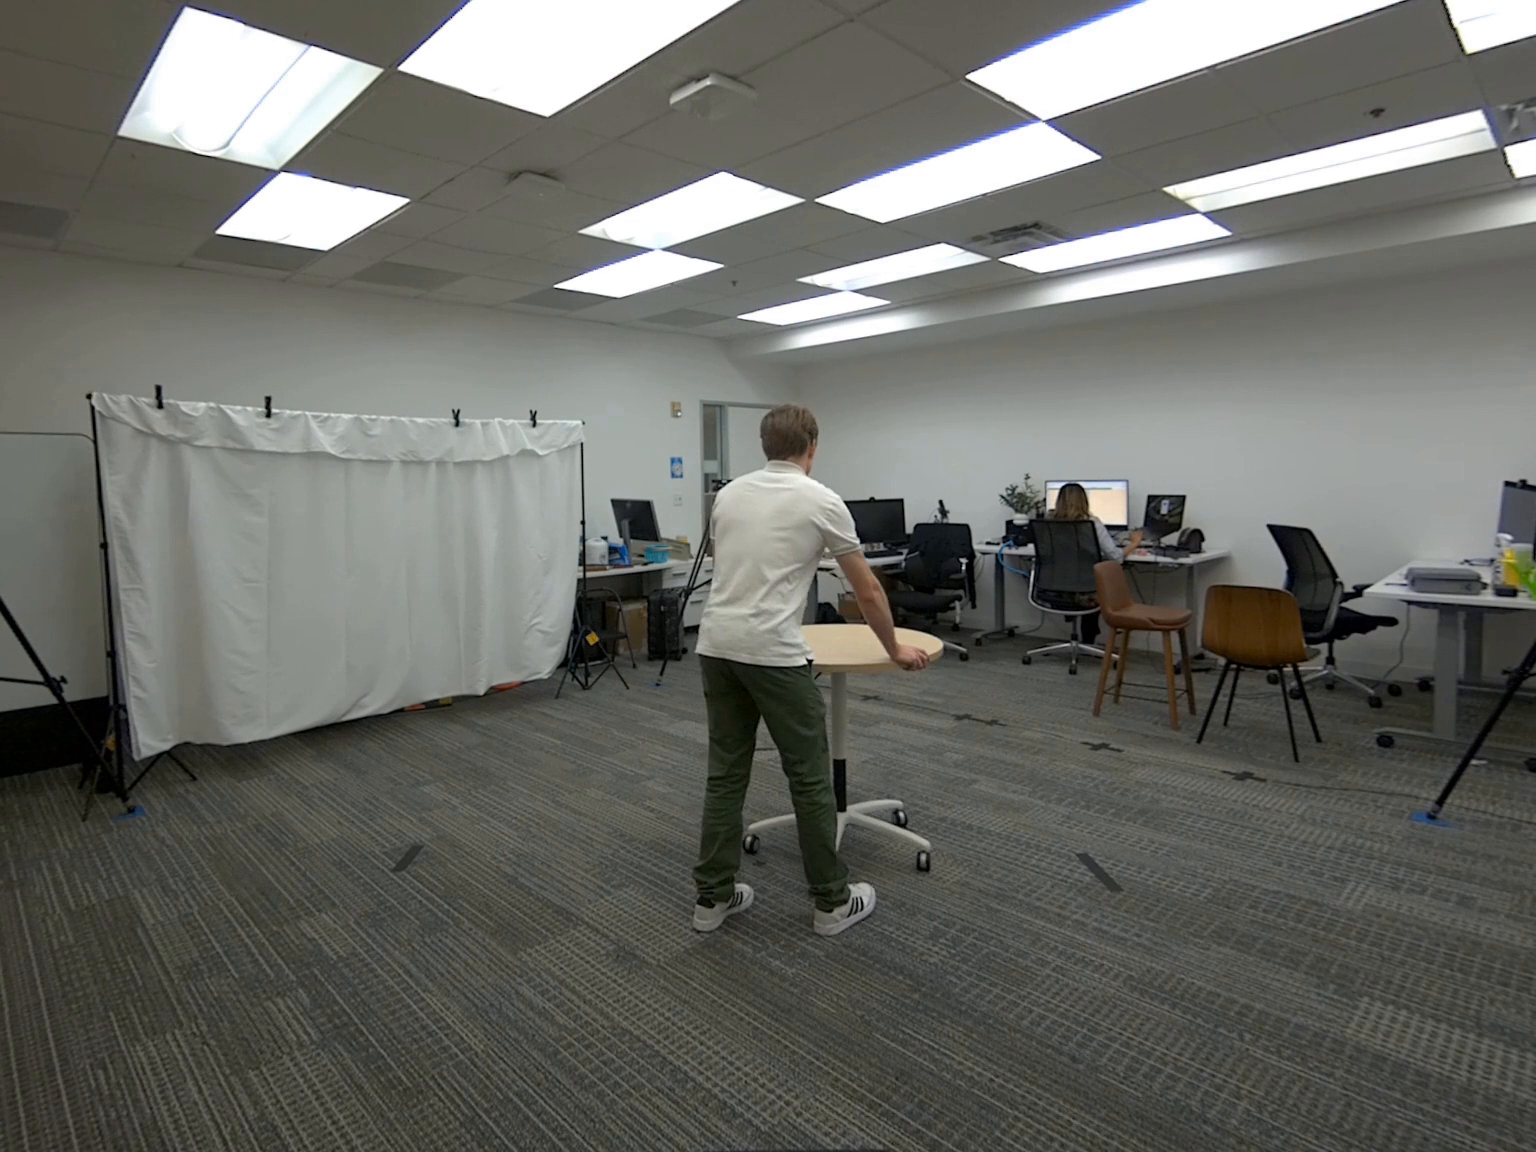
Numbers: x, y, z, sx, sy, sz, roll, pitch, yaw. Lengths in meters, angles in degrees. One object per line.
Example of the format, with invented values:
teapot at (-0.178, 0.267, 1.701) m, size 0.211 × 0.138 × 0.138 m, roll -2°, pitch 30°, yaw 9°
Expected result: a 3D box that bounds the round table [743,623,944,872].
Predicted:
round table at (0.275, 0.640, 3.223) m, size 0.763 × 0.791 × 0.768 m, roll -1°, pitch 5°, yaw -2°
